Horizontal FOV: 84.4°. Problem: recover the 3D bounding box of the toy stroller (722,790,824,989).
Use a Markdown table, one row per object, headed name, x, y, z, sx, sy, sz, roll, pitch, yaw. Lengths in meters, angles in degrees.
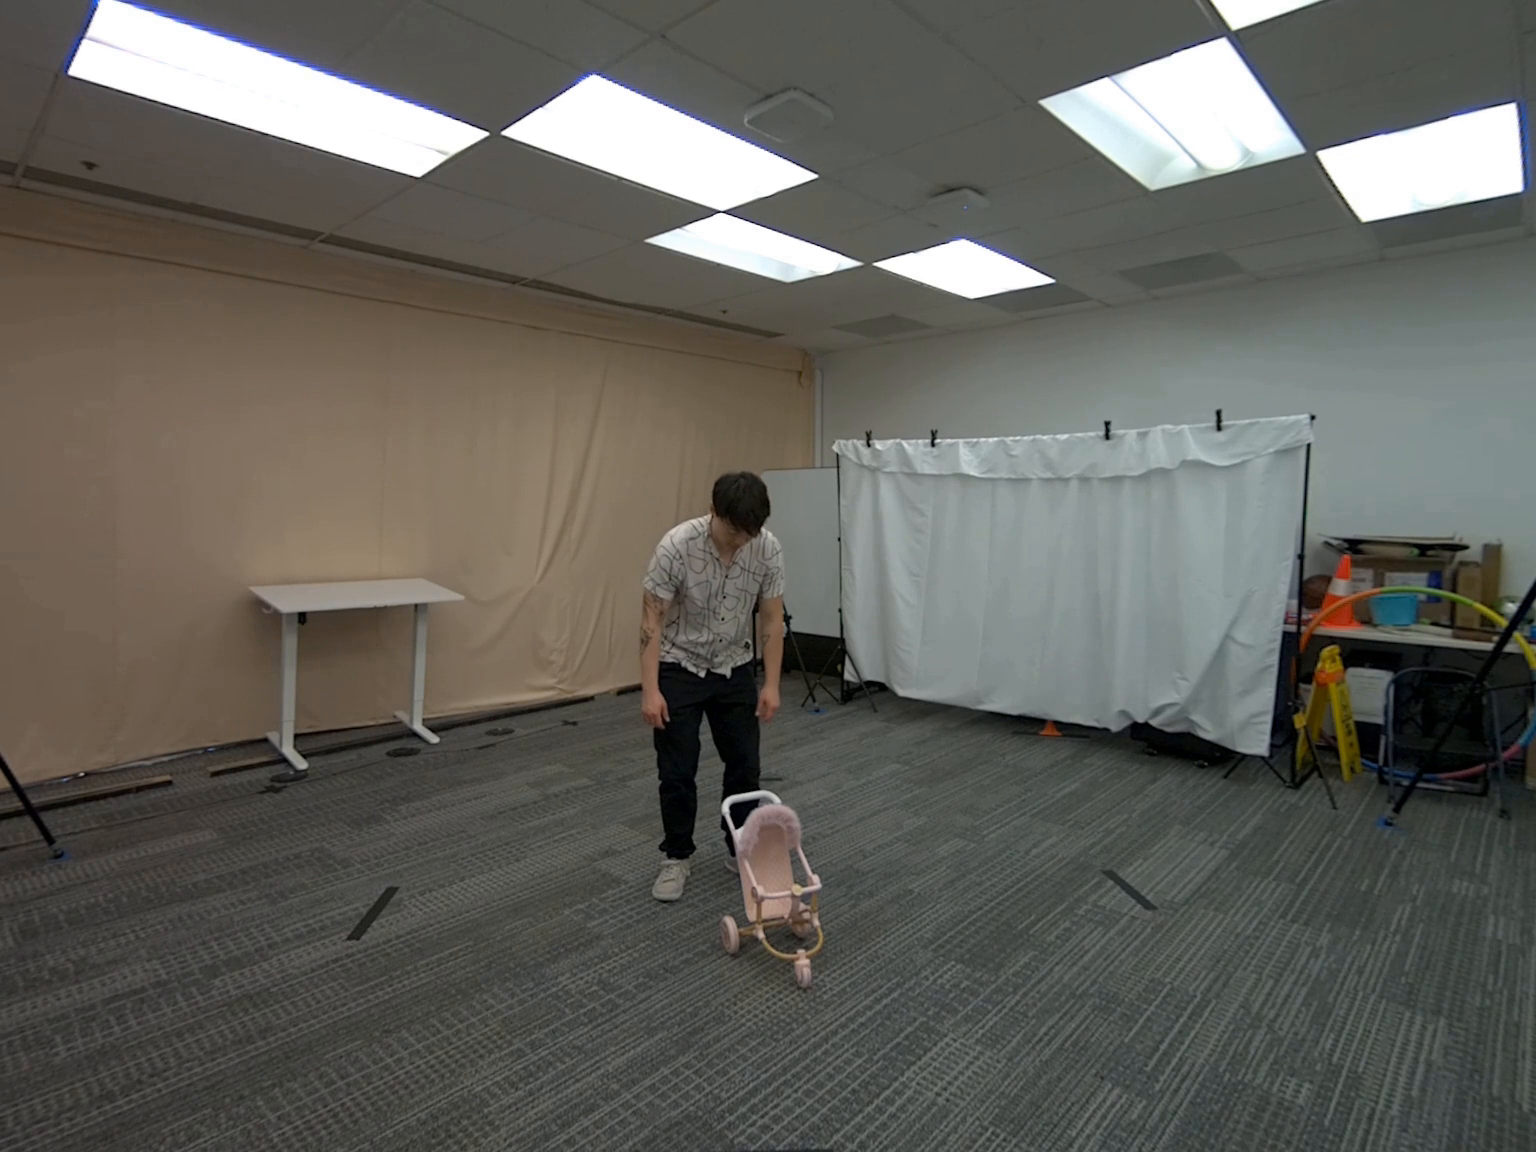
| name | x | y | z | sx | sy | sz | roll | pitch | yaw |
| --- | --- | --- | --- | --- | --- | --- | --- | --- | --- |
| toy stroller | 0.025 | 0.950 | 2.603 | 0.276 | 0.540 | 0.345 | -2 | -13 | -20 |
